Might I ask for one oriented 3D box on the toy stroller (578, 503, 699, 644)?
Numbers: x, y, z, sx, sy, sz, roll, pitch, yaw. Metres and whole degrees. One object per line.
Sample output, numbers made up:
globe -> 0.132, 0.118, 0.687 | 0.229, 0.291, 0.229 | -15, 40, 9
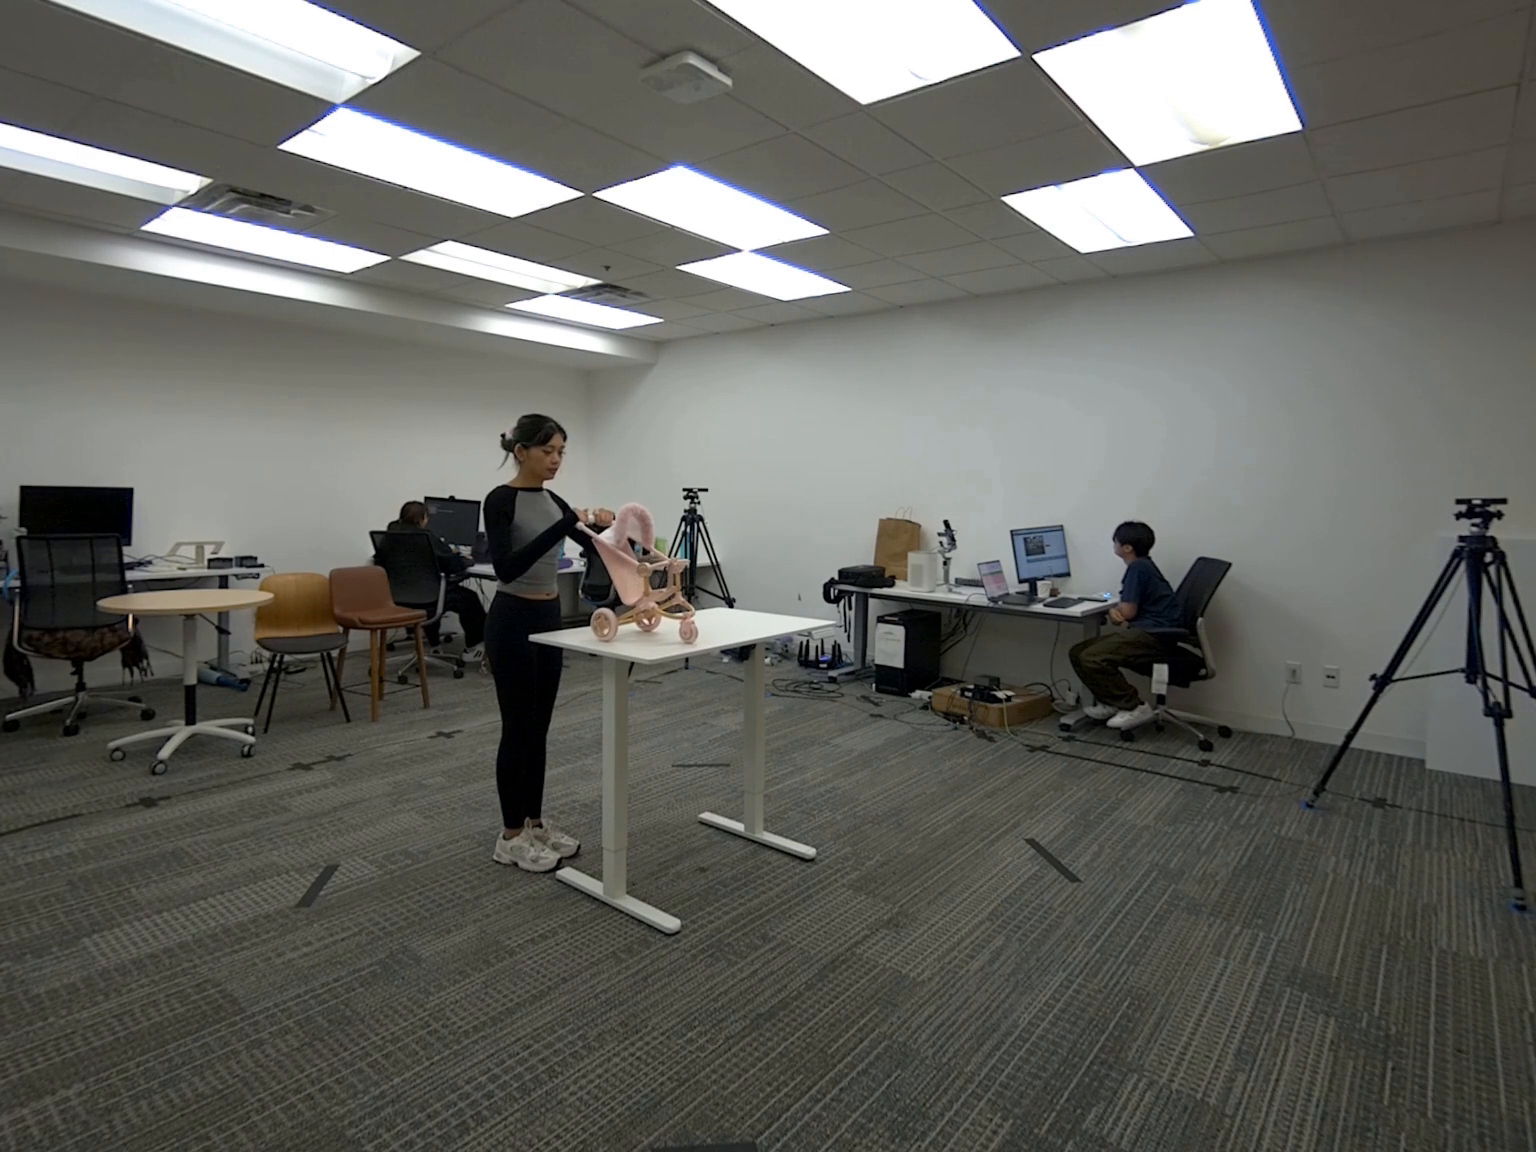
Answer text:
toy stroller -> -0.444, -0.013, 2.870 | 0.348, 0.540, 0.274 | -19, -8, 33
